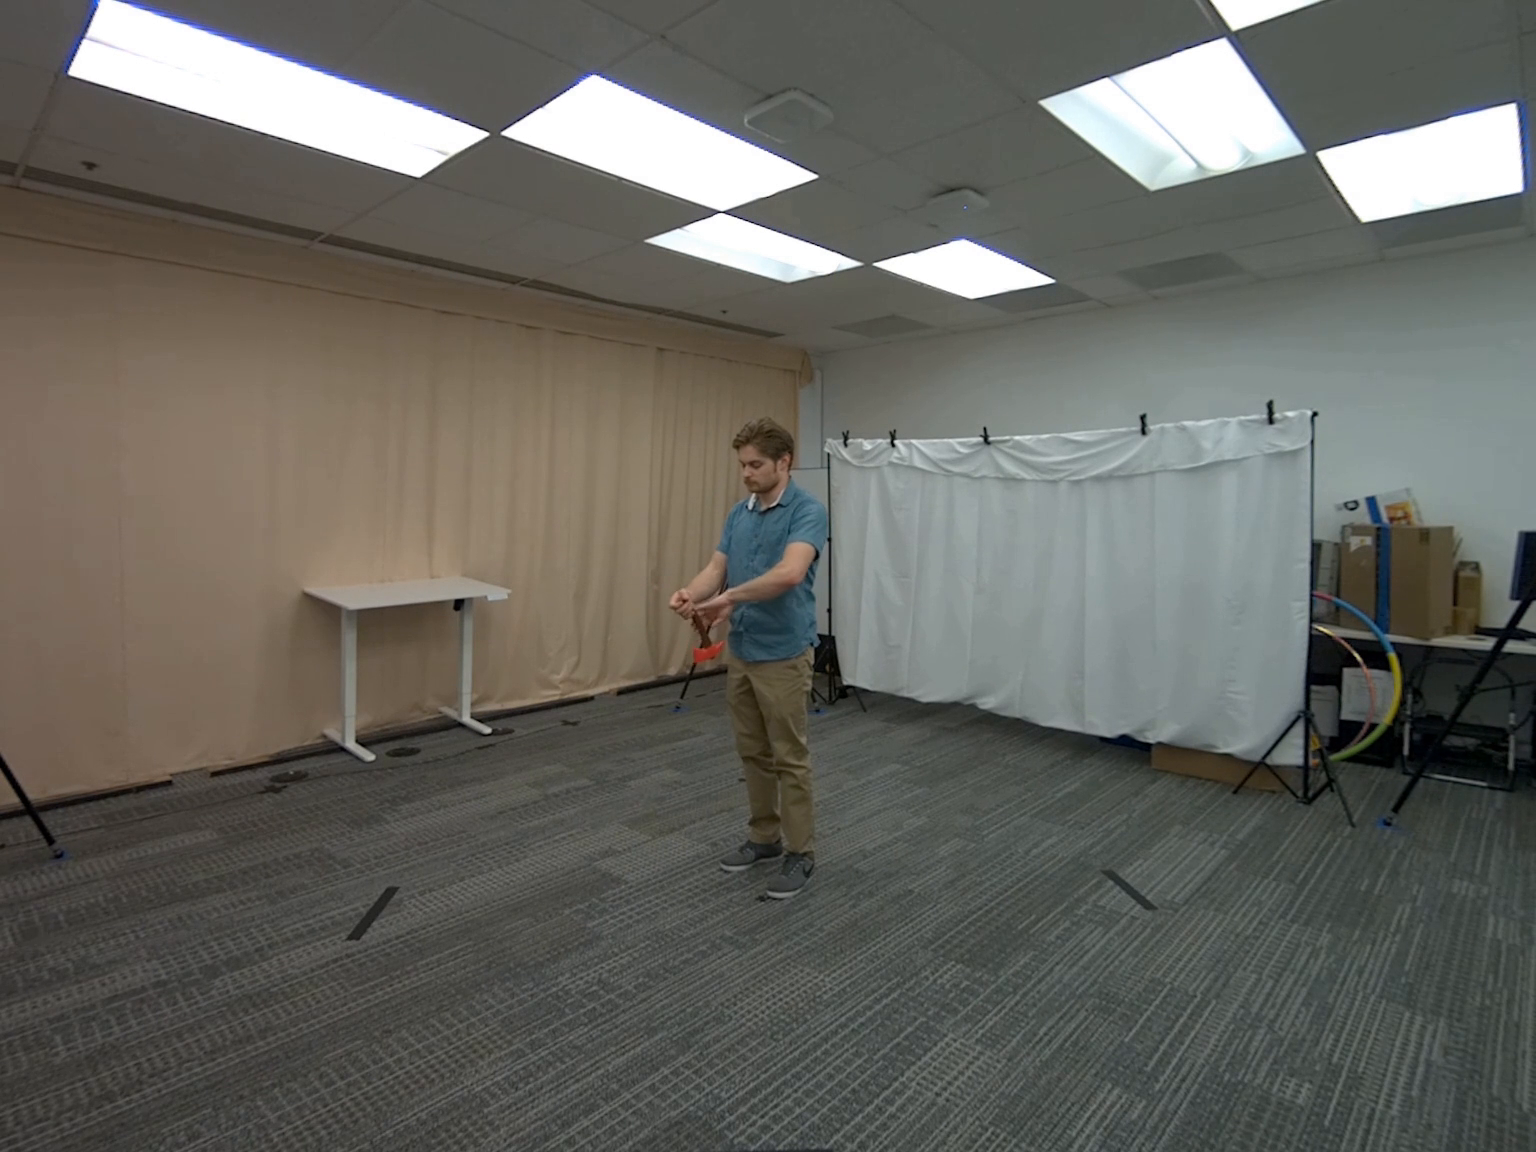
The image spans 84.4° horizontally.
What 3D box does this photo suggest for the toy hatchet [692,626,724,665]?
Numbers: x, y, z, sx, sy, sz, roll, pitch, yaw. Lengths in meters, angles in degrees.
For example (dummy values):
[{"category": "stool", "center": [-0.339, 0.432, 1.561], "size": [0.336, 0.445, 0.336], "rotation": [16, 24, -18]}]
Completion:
[{"category": "toy hatchet", "center": [-0.265, 0.203, 2.934], "size": [0.263, 0.131, 0.030], "rotation": [46, -10, -26]}]
